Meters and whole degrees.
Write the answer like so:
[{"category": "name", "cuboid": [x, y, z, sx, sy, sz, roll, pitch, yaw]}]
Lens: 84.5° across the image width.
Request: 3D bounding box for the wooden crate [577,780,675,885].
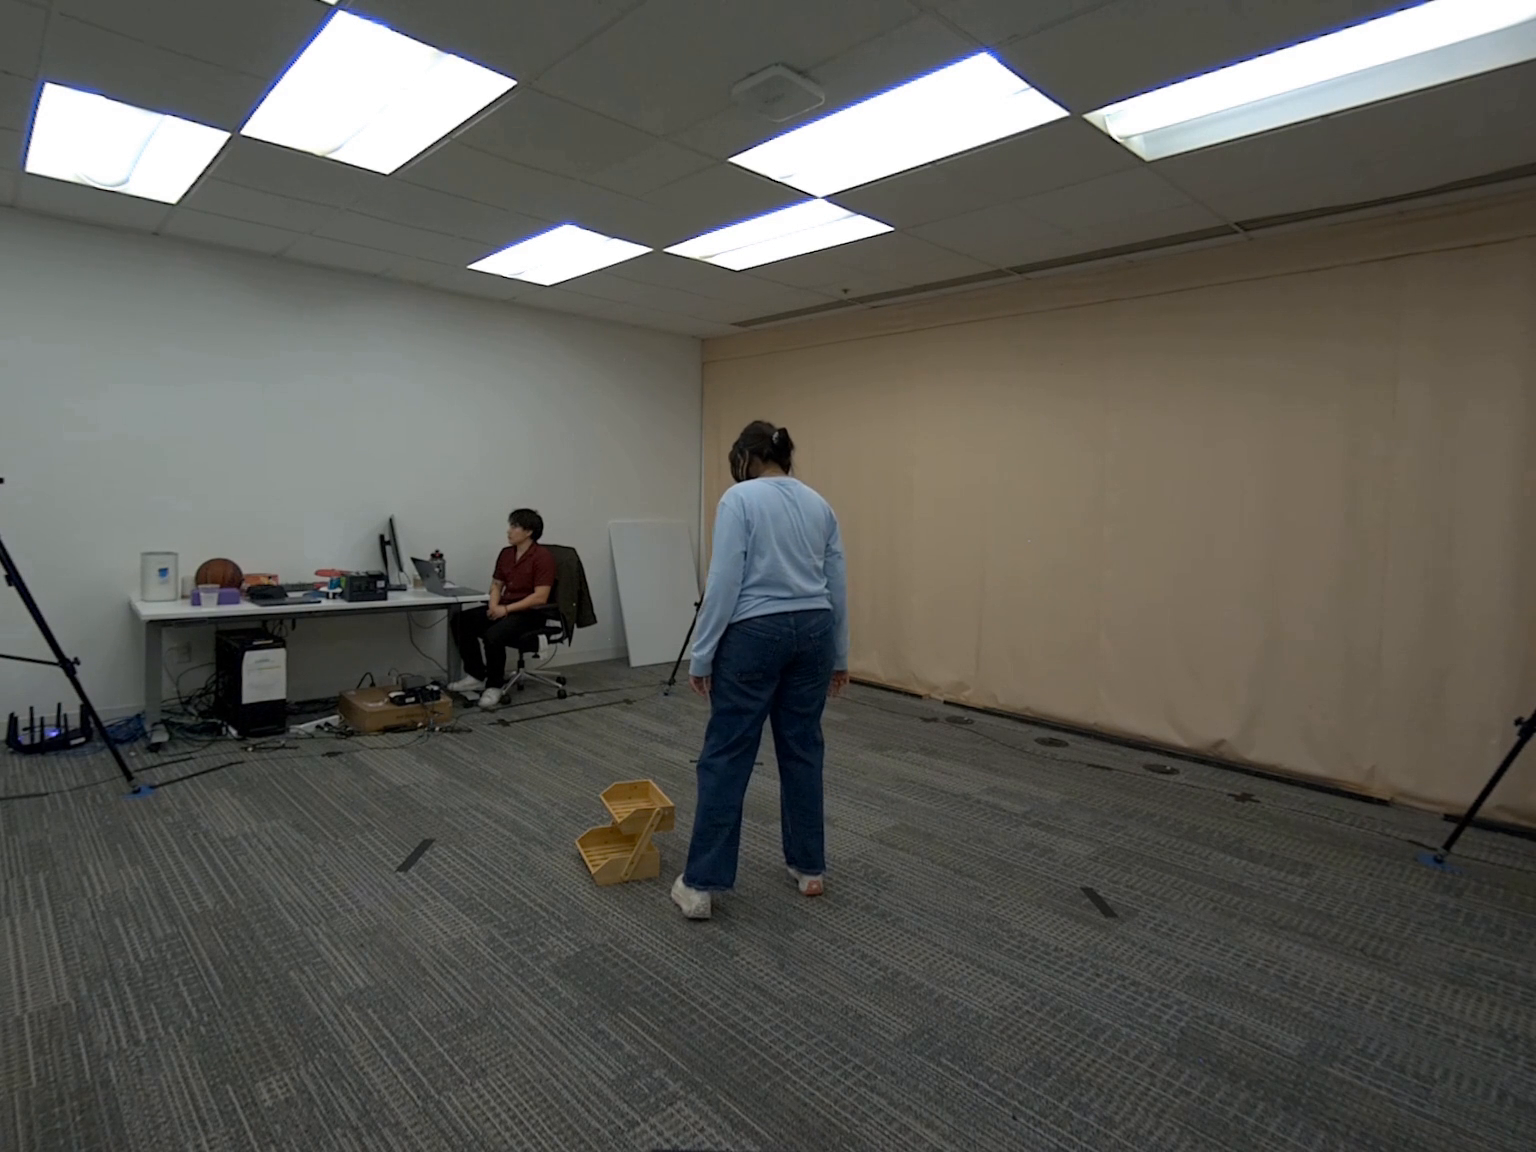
[{"category": "wooden crate", "cuboid": [-0.553, 0.950, 3.178, 0.296, 0.272, 0.331, 0, 5, -25]}]
